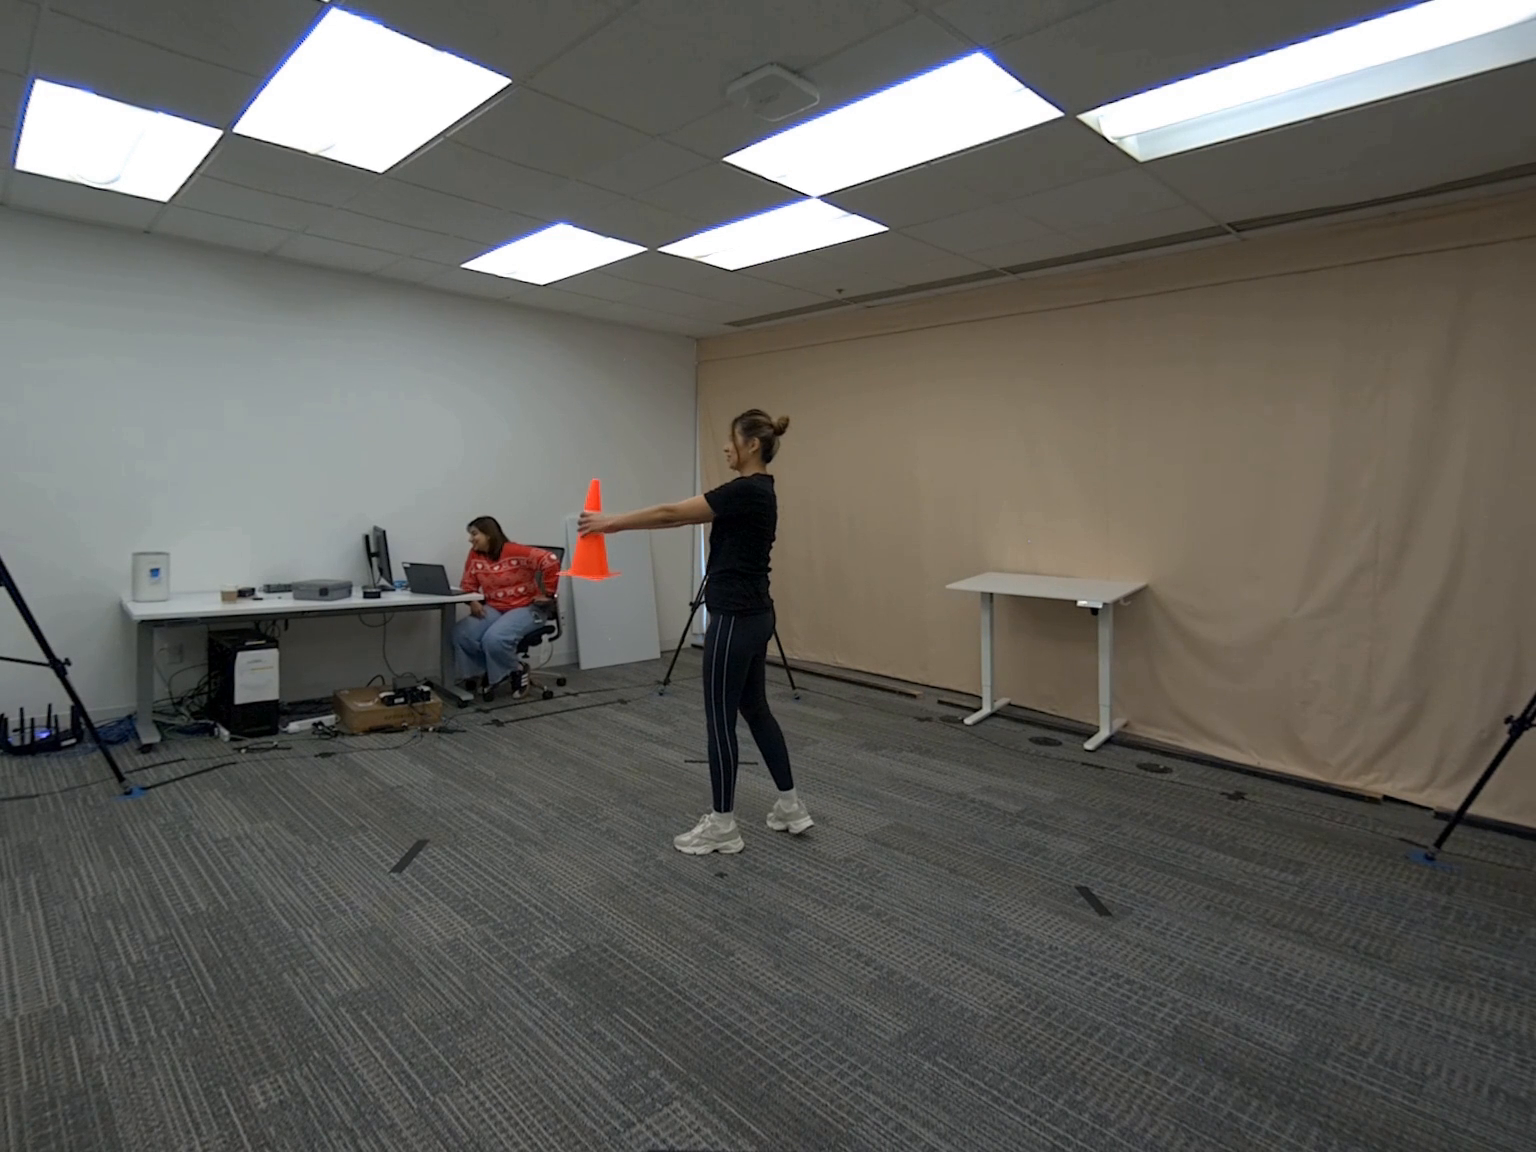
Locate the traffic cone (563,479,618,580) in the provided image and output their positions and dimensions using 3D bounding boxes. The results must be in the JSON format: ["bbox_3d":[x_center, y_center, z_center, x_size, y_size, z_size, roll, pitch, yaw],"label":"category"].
[{"bbox_3d":[-0.699,-0.194,3.369,0.210,0.381,0.199,11,11,40],"label":"traffic cone"}]
